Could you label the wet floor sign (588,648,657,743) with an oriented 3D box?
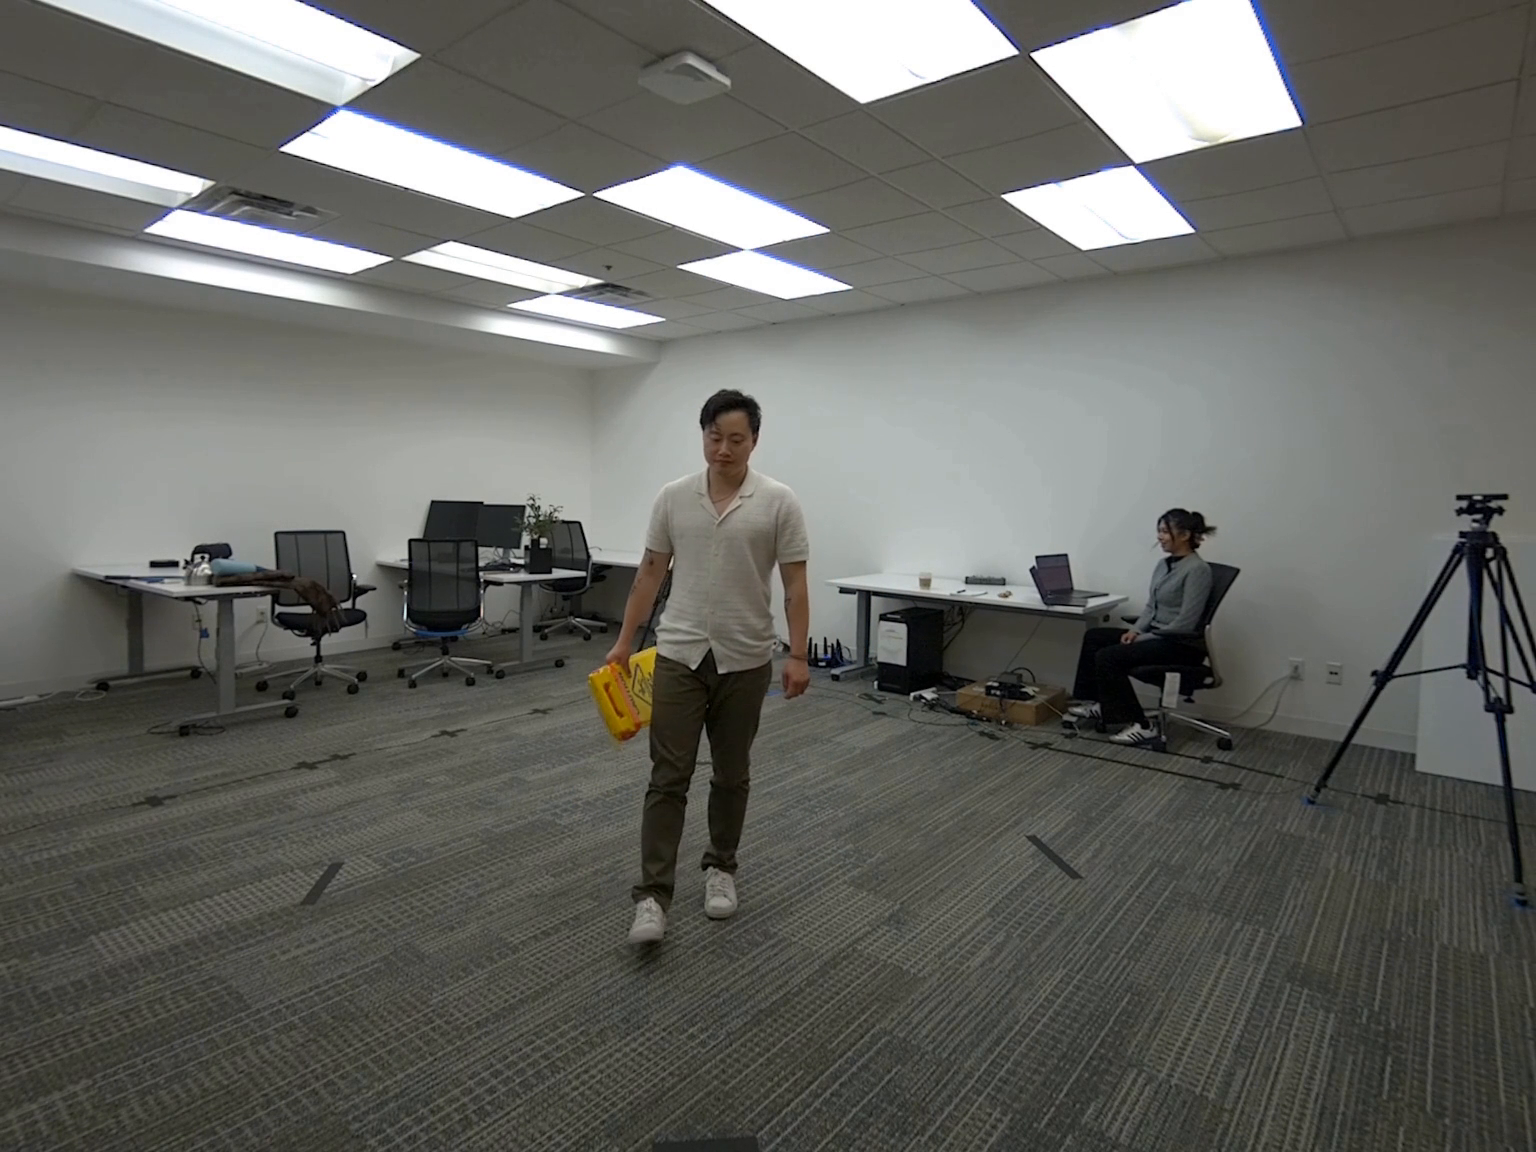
[{"bbox_3d":[-0.502,0.421,2.897,0.289,0.285,0.639,-27,-7,-2],"label":"wet floor sign"}]
